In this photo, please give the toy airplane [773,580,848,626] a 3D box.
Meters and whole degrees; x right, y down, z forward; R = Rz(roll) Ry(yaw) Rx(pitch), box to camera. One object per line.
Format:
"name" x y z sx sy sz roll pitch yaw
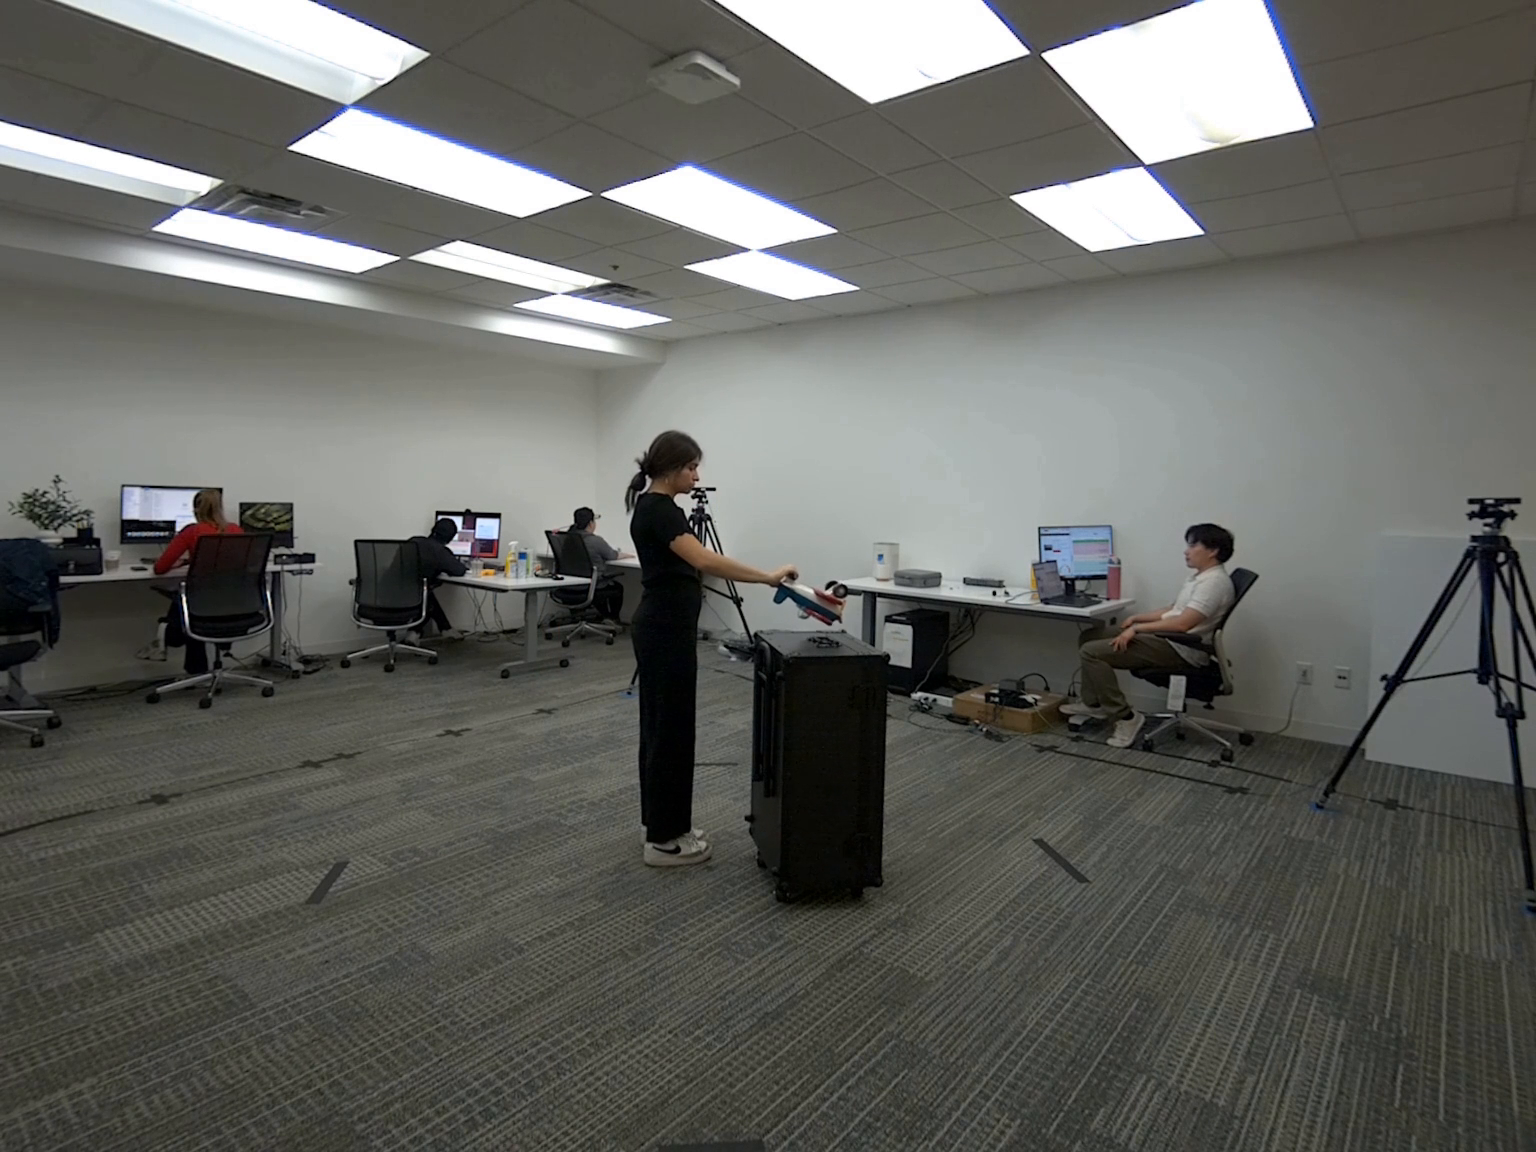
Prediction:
"toy airplane" 0.151 0.072 3.065 0.264 0.156 0.246 14 1 15
